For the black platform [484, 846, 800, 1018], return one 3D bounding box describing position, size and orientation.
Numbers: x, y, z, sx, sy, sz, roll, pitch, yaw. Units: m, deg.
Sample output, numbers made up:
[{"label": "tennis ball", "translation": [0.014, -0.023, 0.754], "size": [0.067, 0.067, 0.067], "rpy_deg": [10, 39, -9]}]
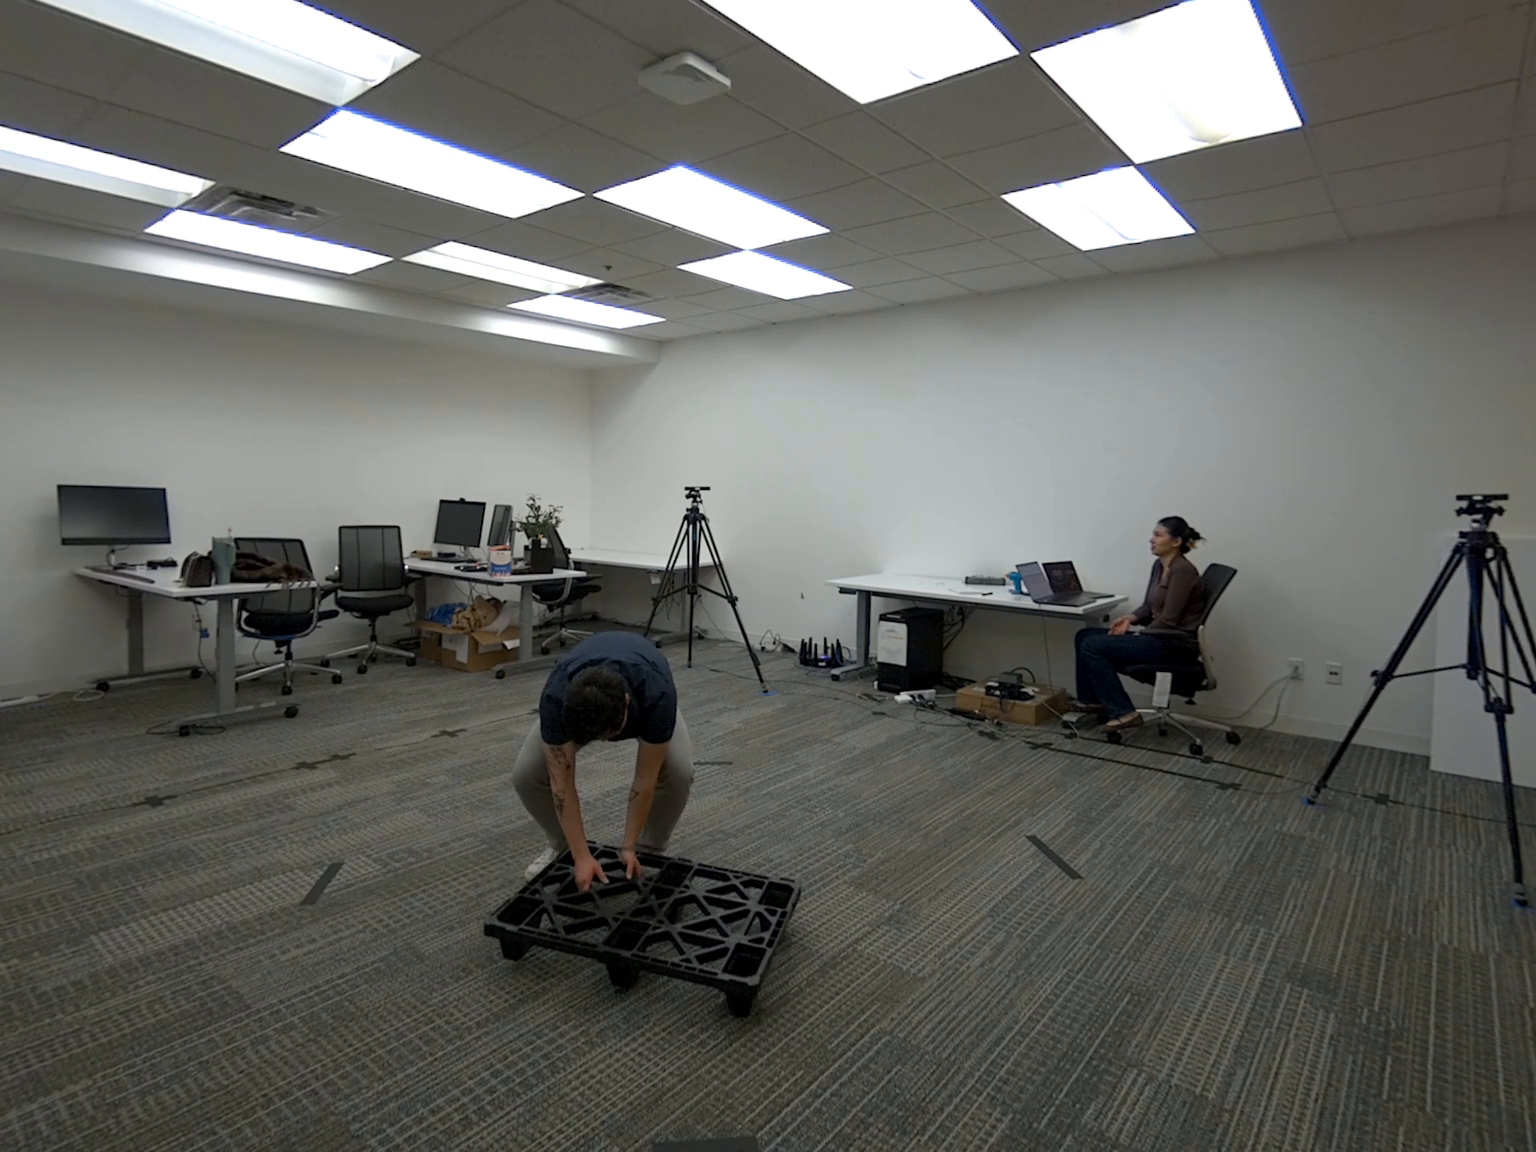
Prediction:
[{"label": "black platform", "translation": [-0.362, 1.035, 2.557], "size": [0.820, 0.143, 0.597], "rpy_deg": [5, 6, 15]}]
